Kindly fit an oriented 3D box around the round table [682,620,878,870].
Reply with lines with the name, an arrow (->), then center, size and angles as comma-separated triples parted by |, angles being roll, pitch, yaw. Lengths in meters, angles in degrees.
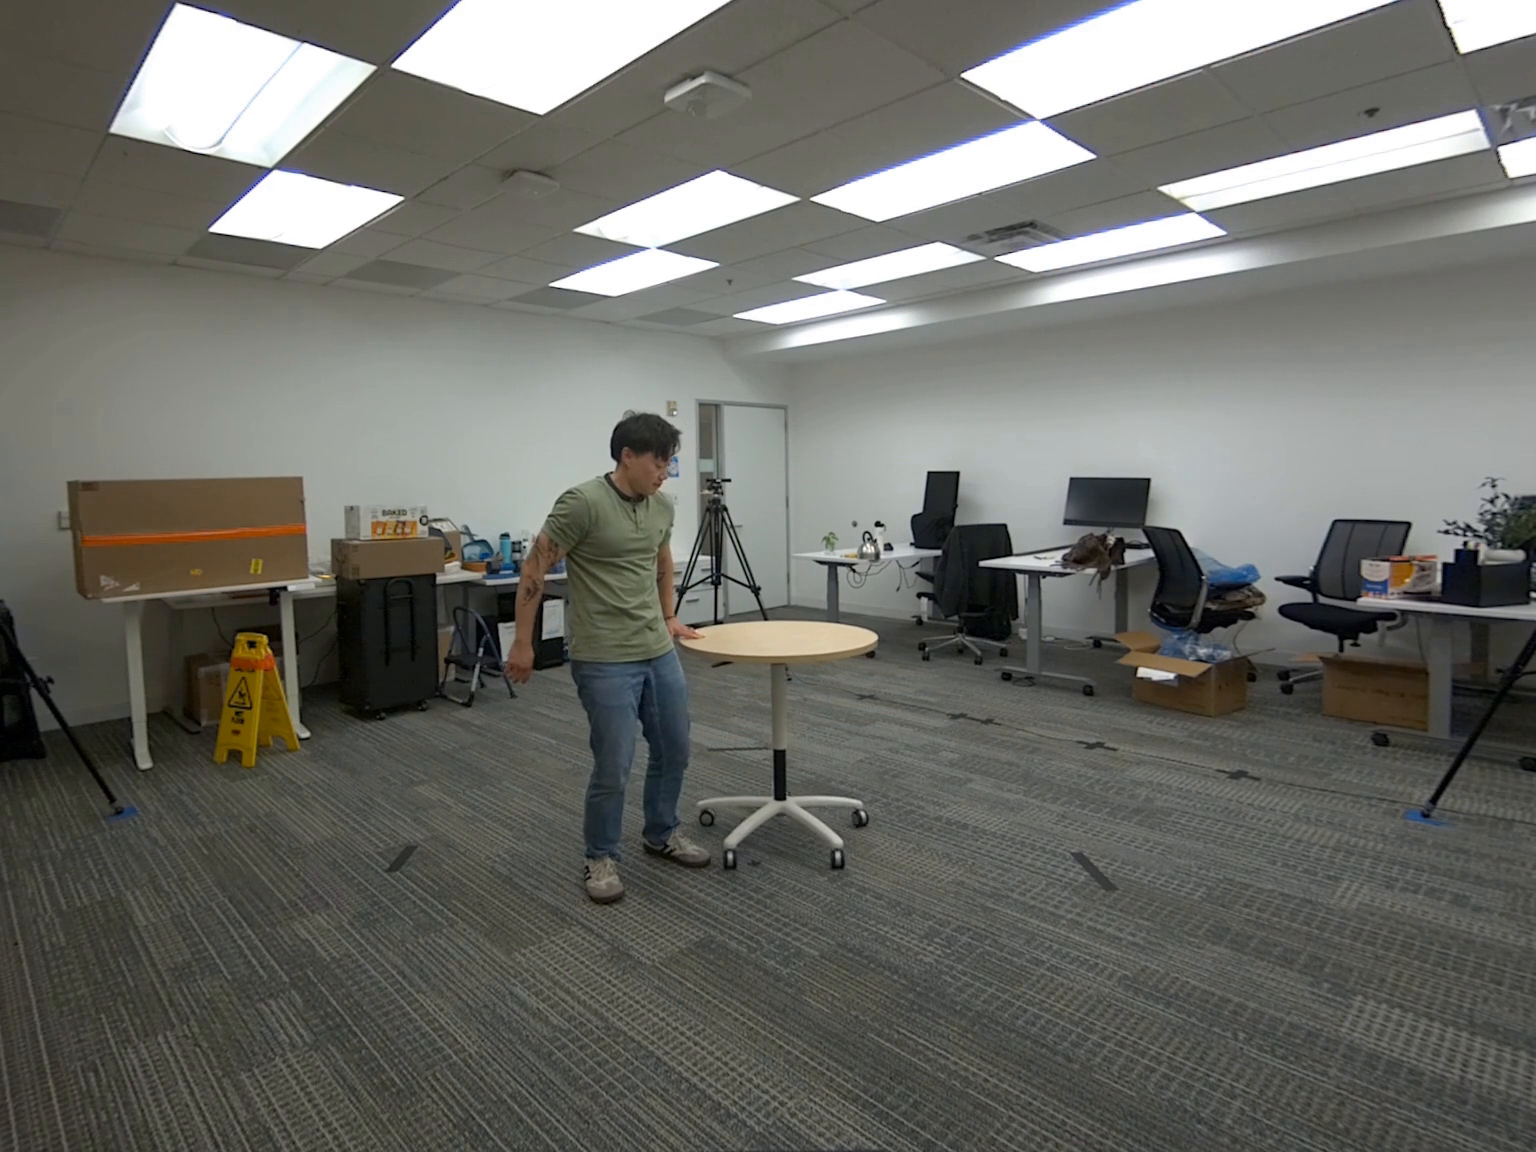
round table -> 0.040, 0.627, 3.332 | 0.763, 0.791, 0.767 | -1, 4, -2
